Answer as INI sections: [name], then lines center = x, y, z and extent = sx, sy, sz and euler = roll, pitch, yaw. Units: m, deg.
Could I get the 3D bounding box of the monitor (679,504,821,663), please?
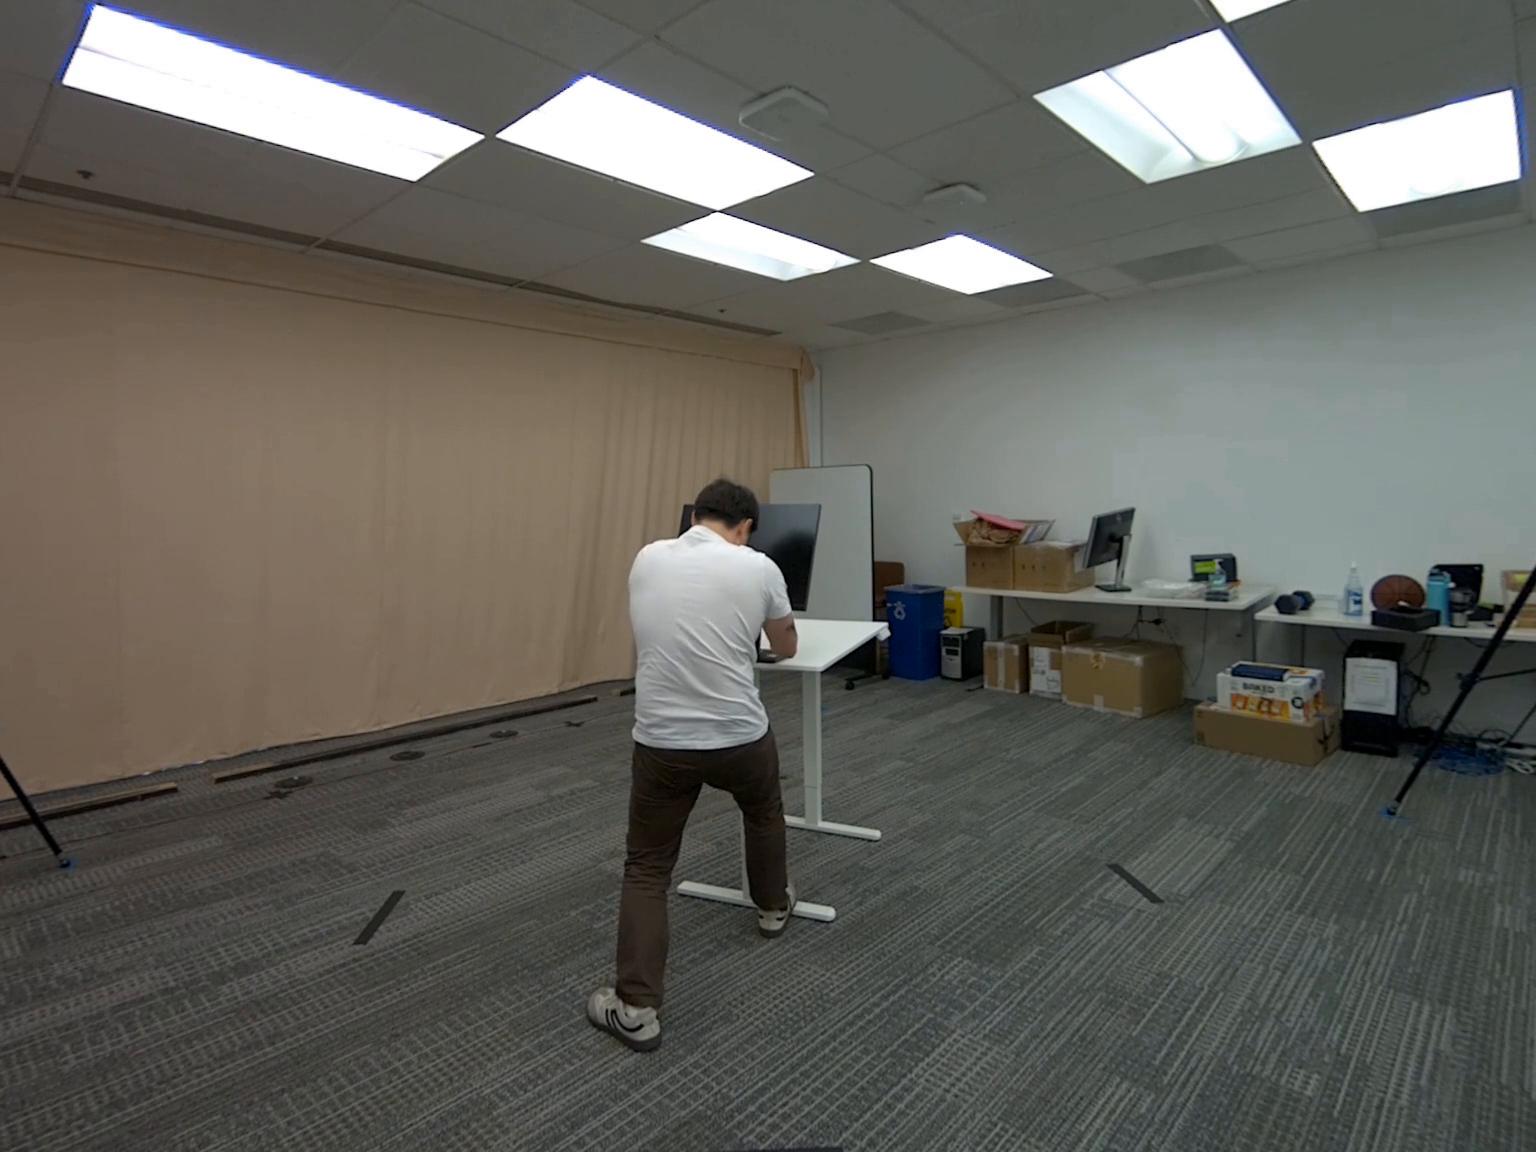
[monitor]
center = -0.065, 0.017, 2.834
extent = 0.555, 0.522, 0.182
euler = 3, 0, 30
